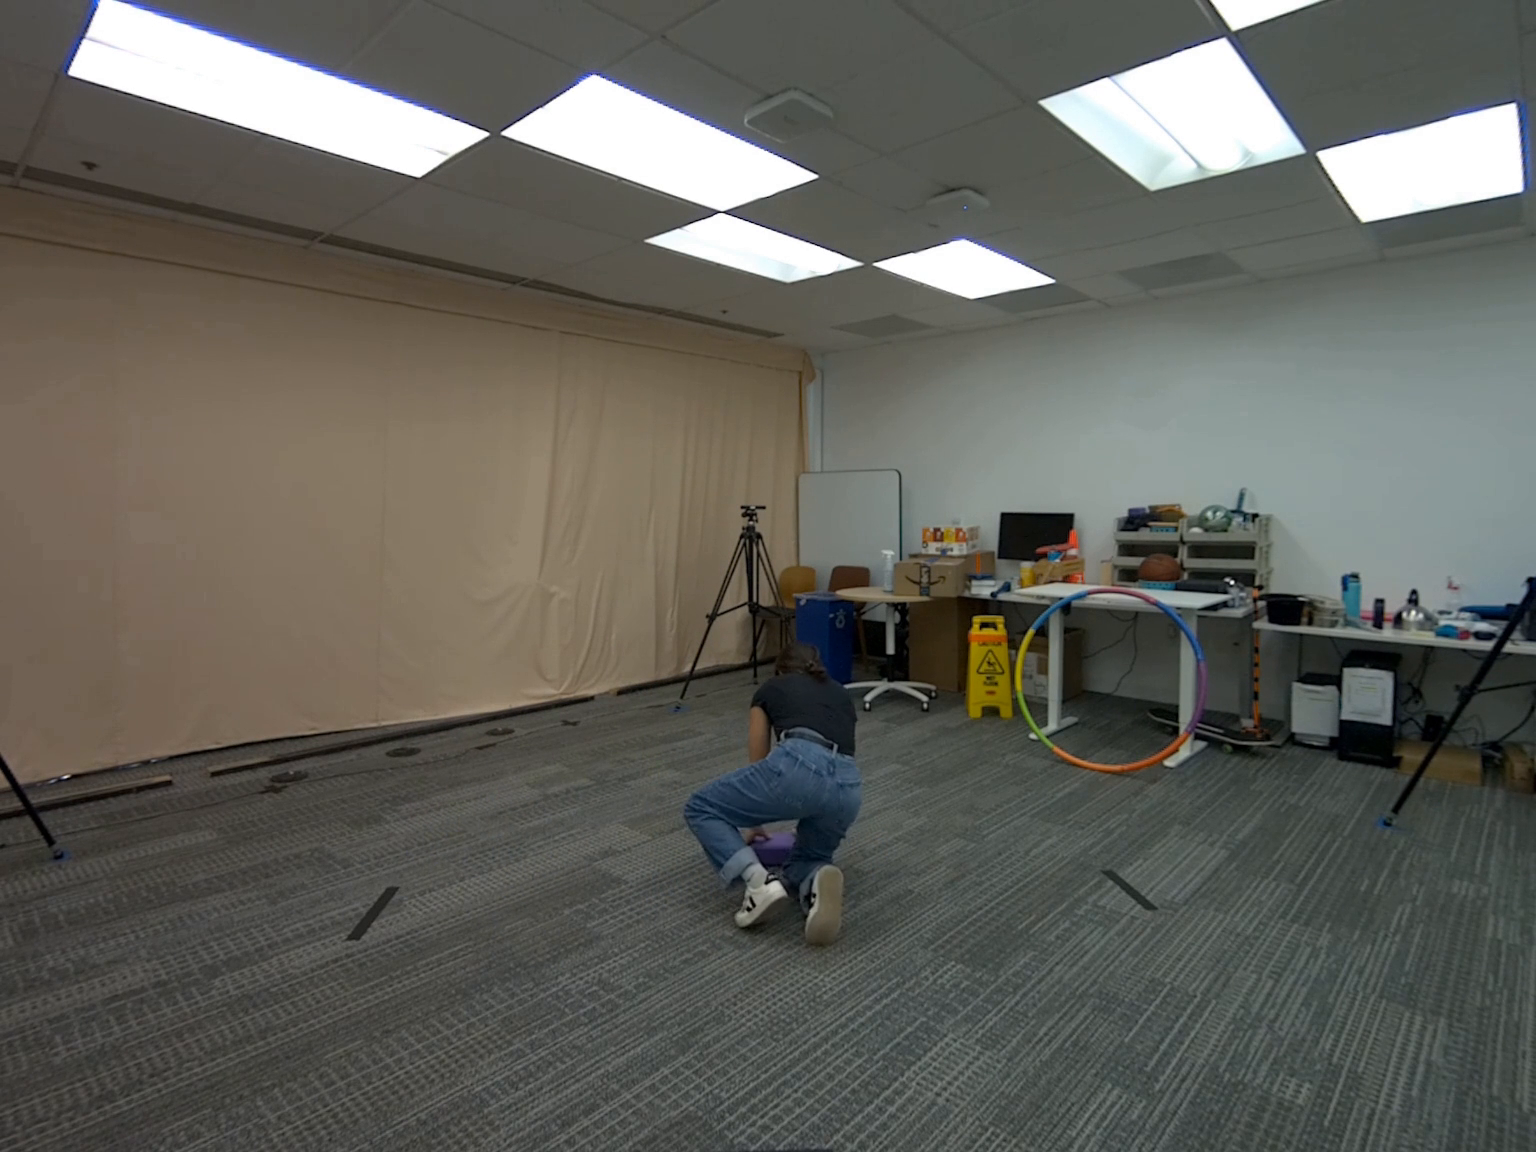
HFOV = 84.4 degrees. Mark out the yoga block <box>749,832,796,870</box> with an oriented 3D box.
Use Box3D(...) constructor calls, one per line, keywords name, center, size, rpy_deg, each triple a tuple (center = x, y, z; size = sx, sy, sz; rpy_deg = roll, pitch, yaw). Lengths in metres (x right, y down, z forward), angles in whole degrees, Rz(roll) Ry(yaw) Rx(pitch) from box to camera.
Box3D(name="yoga block", center=(0.054, 1.073, 3.313), size=(0.229, 0.076, 0.149), rpy_deg=(-1, 2, -3))
